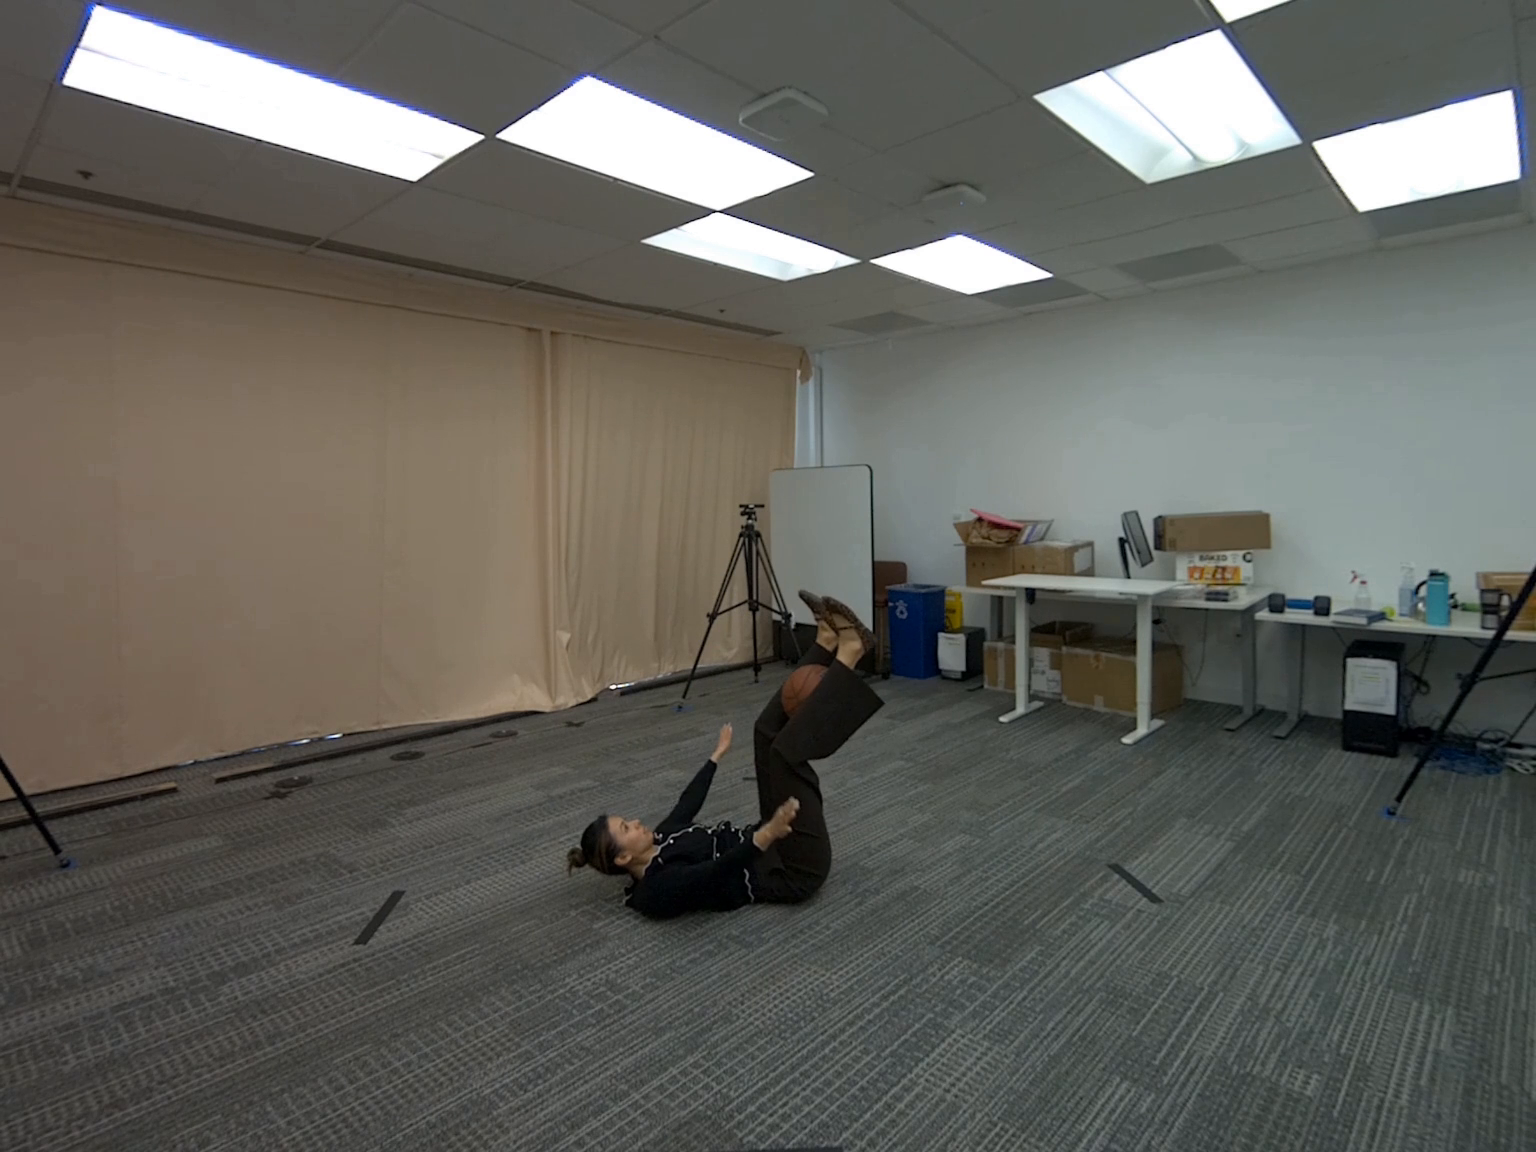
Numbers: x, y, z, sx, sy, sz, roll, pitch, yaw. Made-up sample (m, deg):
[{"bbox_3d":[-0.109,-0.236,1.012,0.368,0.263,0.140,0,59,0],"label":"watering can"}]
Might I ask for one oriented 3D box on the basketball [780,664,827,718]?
[{"bbox_3d":[0.166,0.441,3.050,0.236,0.235,0.237,-1,4,-2],"label":"basketball"}]
